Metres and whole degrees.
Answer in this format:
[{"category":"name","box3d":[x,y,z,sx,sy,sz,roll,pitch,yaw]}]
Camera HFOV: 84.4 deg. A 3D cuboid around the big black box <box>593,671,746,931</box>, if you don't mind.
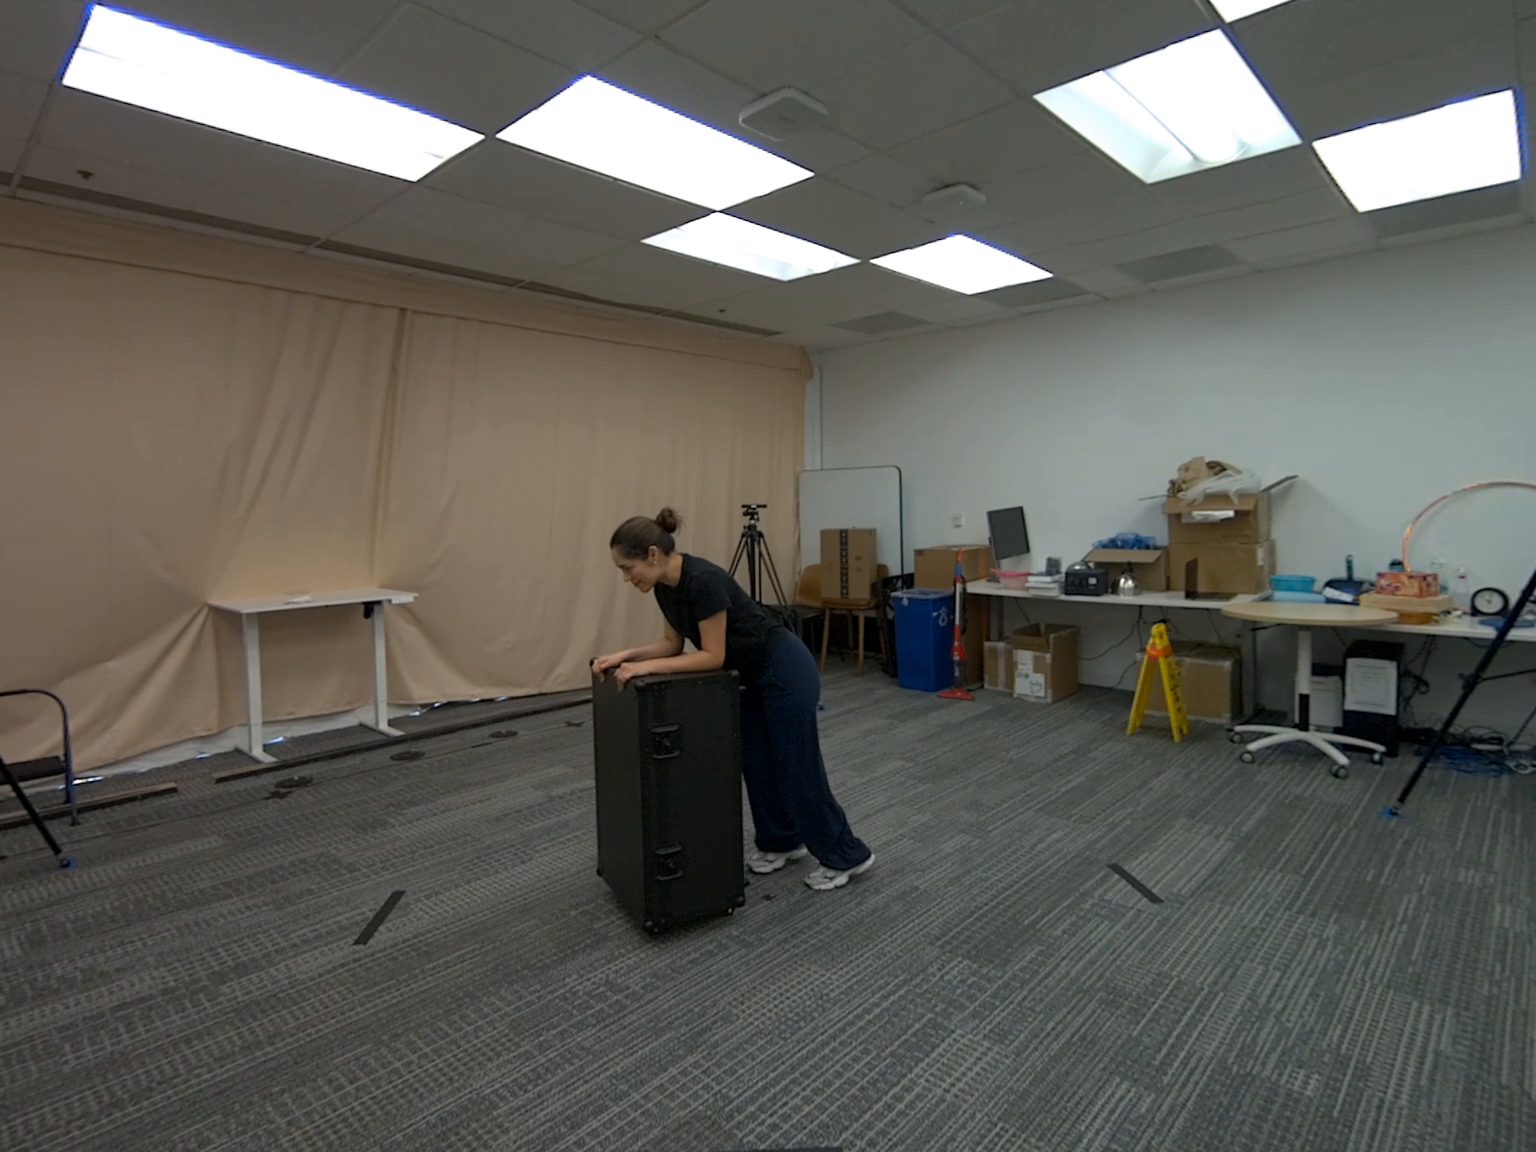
[{"category":"big black box","box3d":[-0.333,0.671,2.893,0.386,0.860,0.536,-3,4,-28]}]
